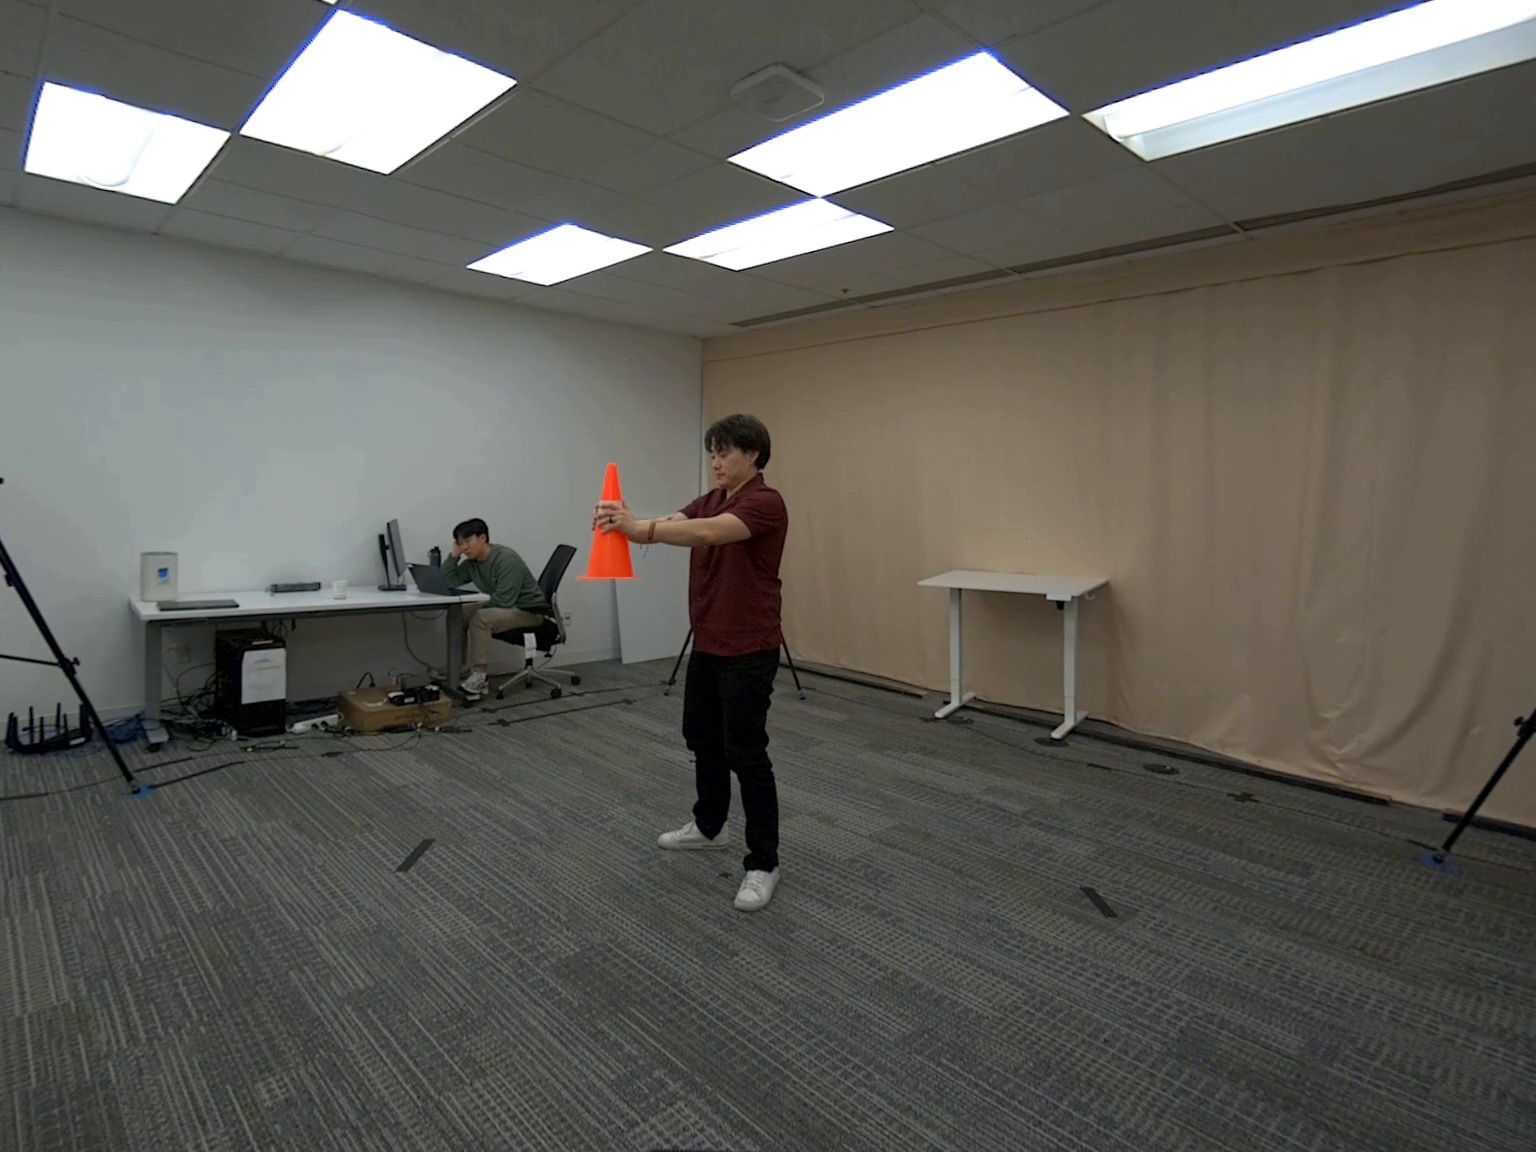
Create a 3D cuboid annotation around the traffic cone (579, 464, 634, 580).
[{"bbox_3d":[-0.539,-0.184,2.837,0.200,0.383,0.208,1,3,-37],"label":"traffic cone"}]
